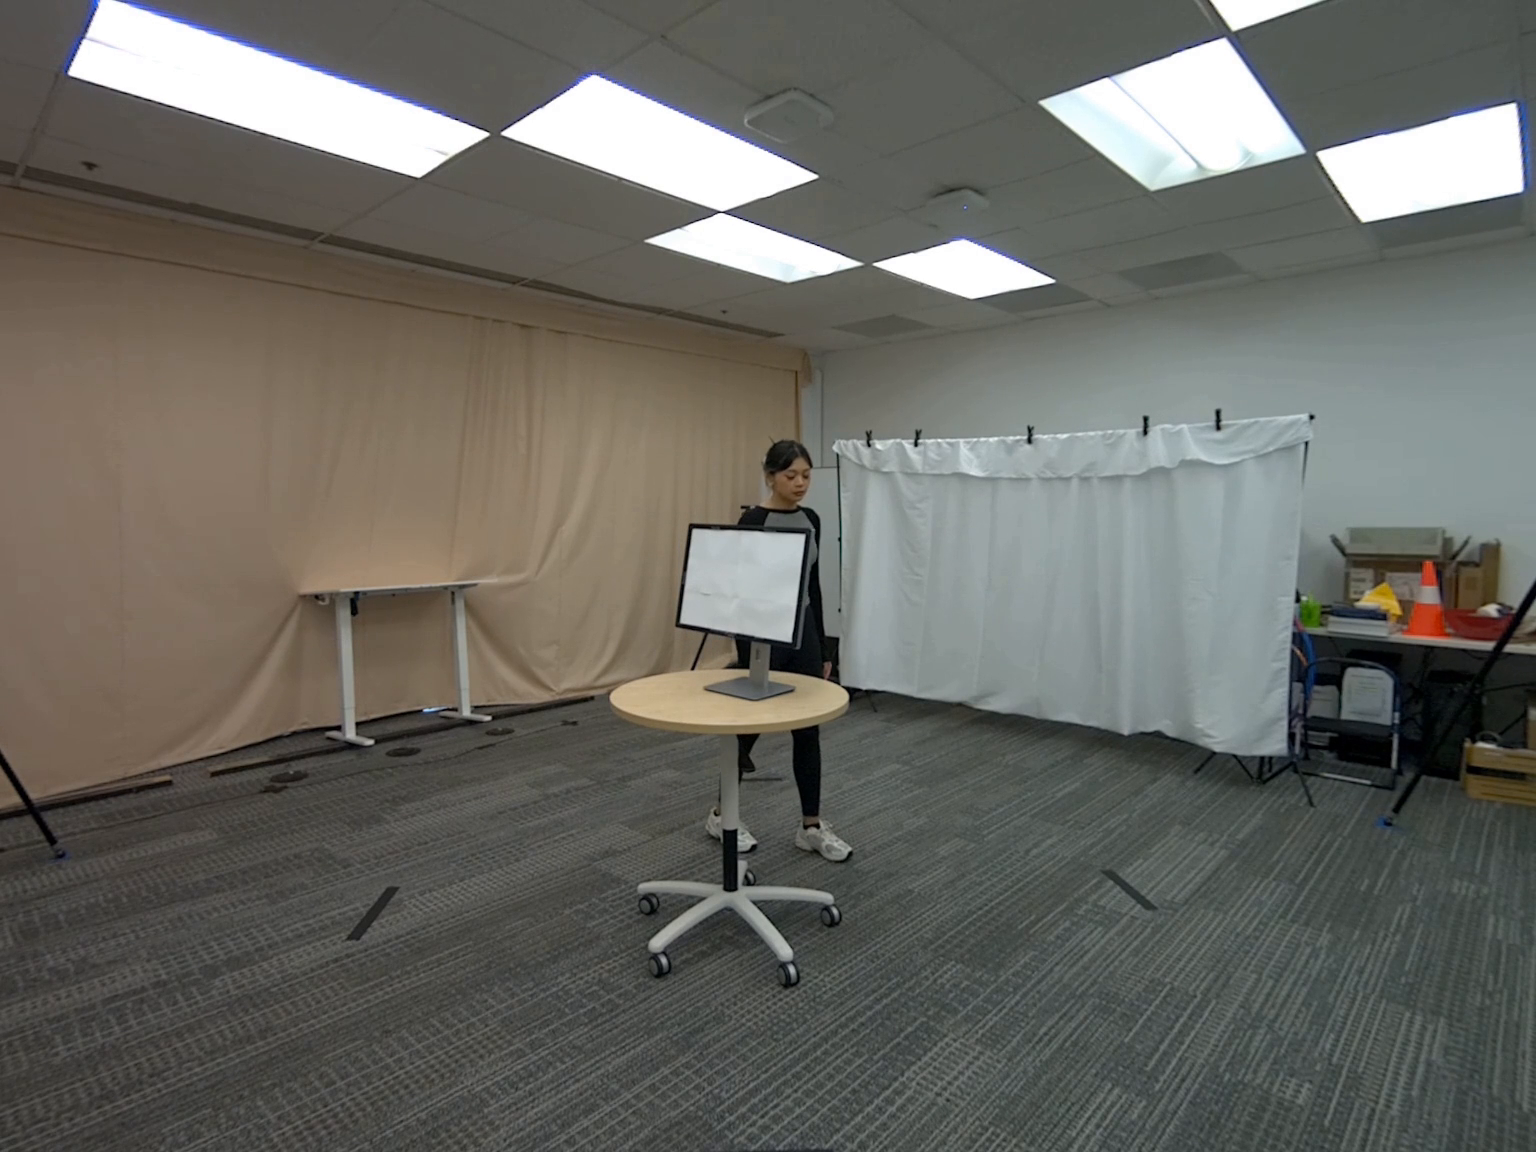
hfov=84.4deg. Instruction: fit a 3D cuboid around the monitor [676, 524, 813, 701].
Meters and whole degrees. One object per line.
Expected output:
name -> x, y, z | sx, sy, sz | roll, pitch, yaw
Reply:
monitor -> -0.062, 0.112, 2.742 | 0.557, 0.521, 0.181 | 4, 7, 44
